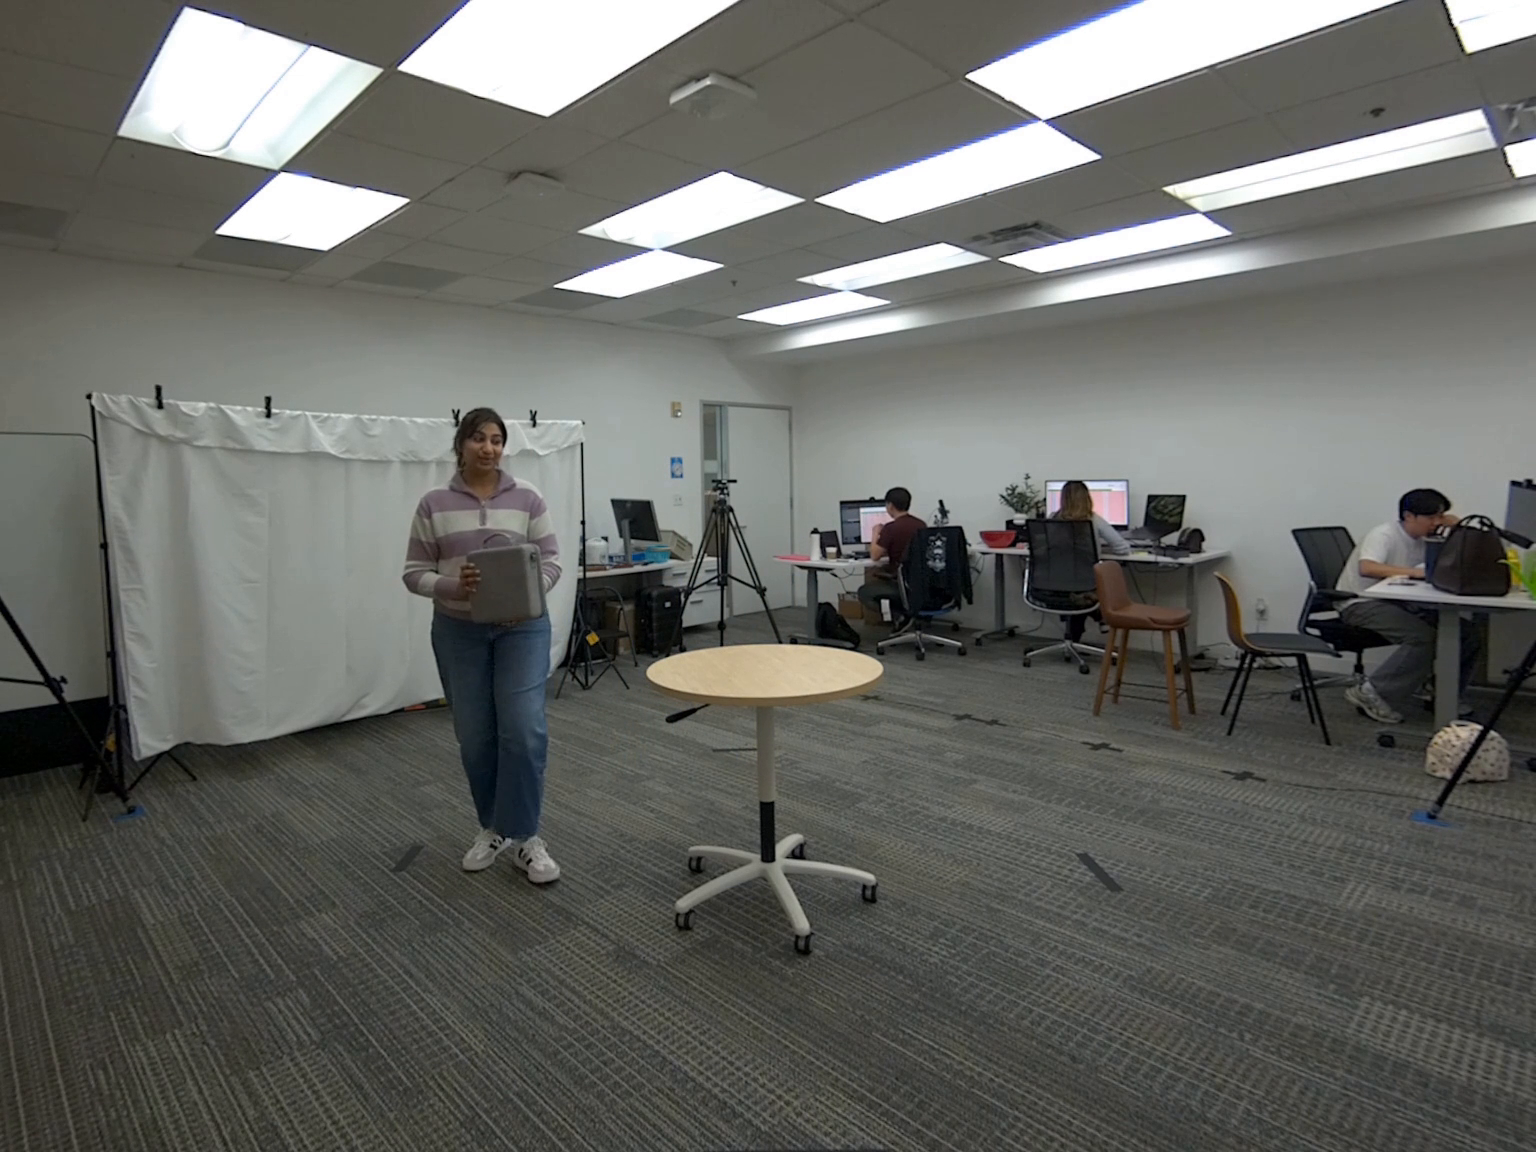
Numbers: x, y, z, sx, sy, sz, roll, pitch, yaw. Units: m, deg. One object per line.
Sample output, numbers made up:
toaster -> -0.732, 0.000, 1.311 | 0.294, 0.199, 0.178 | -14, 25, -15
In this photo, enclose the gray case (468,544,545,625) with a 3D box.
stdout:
gray case -> -0.876, 0.024, 2.866 | 0.261, 0.261, 0.102 | -8, -2, 22
